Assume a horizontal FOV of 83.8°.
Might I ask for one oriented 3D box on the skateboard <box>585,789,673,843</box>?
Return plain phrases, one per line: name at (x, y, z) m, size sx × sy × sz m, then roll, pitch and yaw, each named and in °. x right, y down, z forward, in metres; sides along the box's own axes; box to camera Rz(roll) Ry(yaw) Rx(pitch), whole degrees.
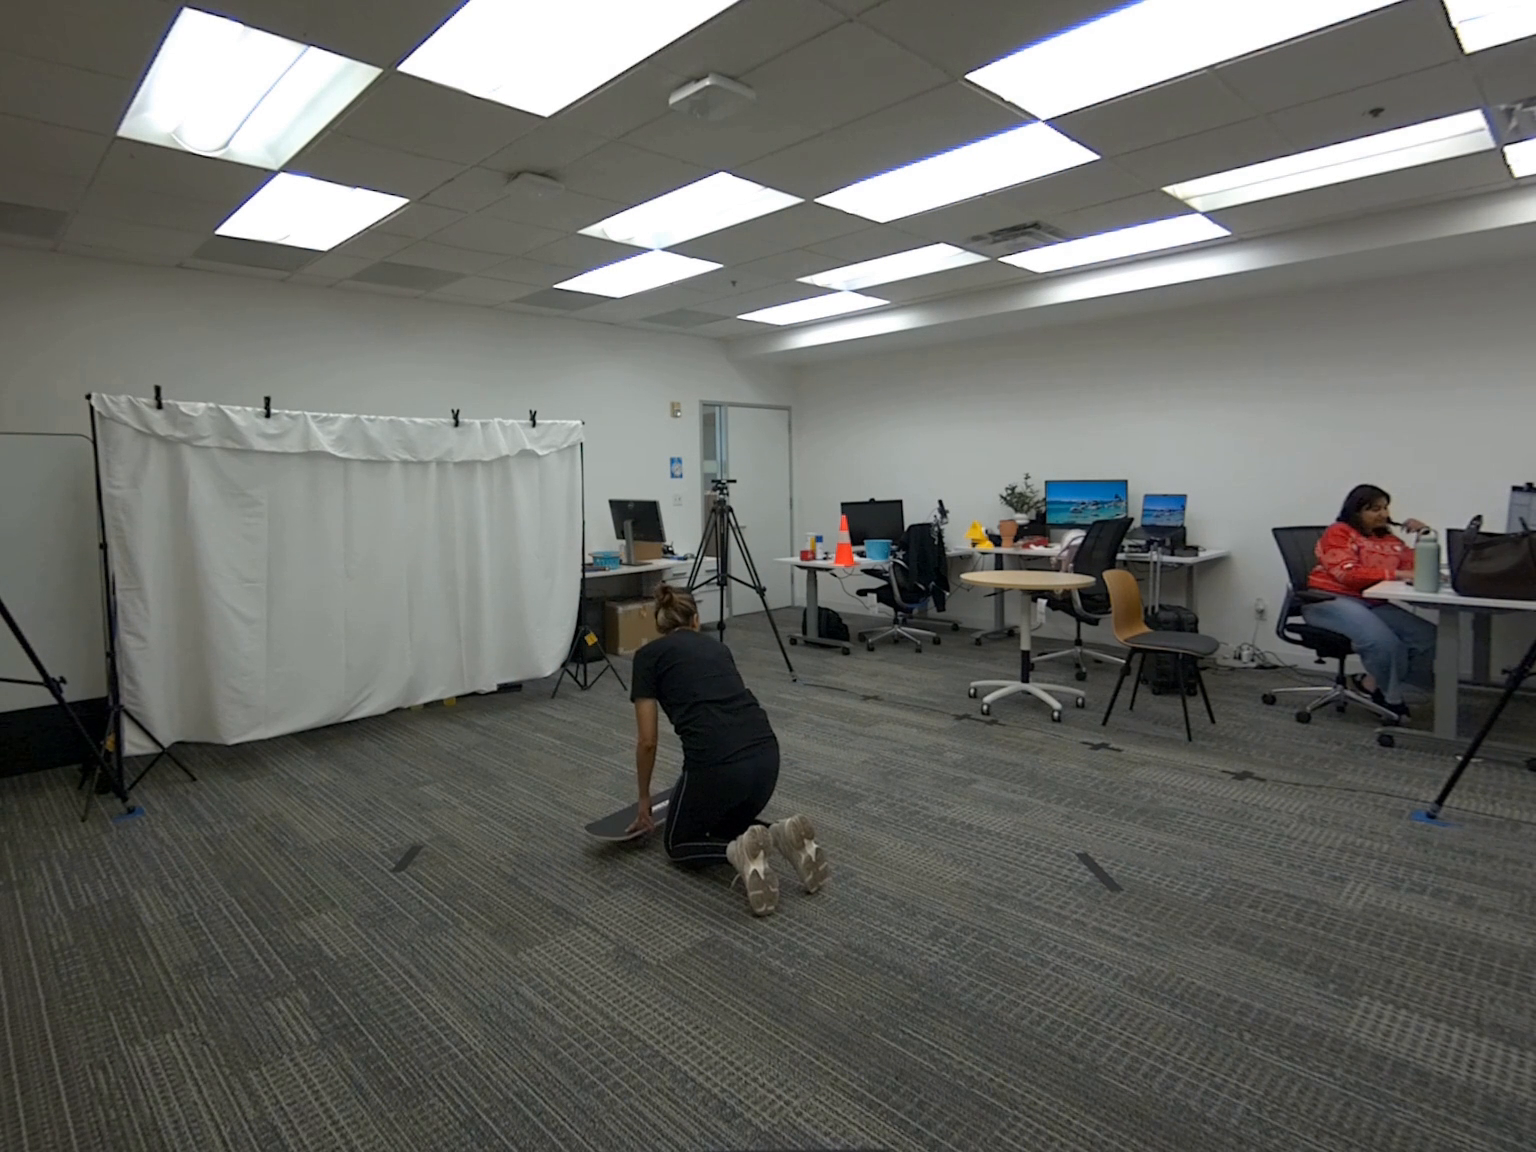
skateboard at (-0.407, 0.944, 3.446) m, size 0.199 × 0.109 × 0.766 m, roll 5°, pitch 10°, yaw 39°
